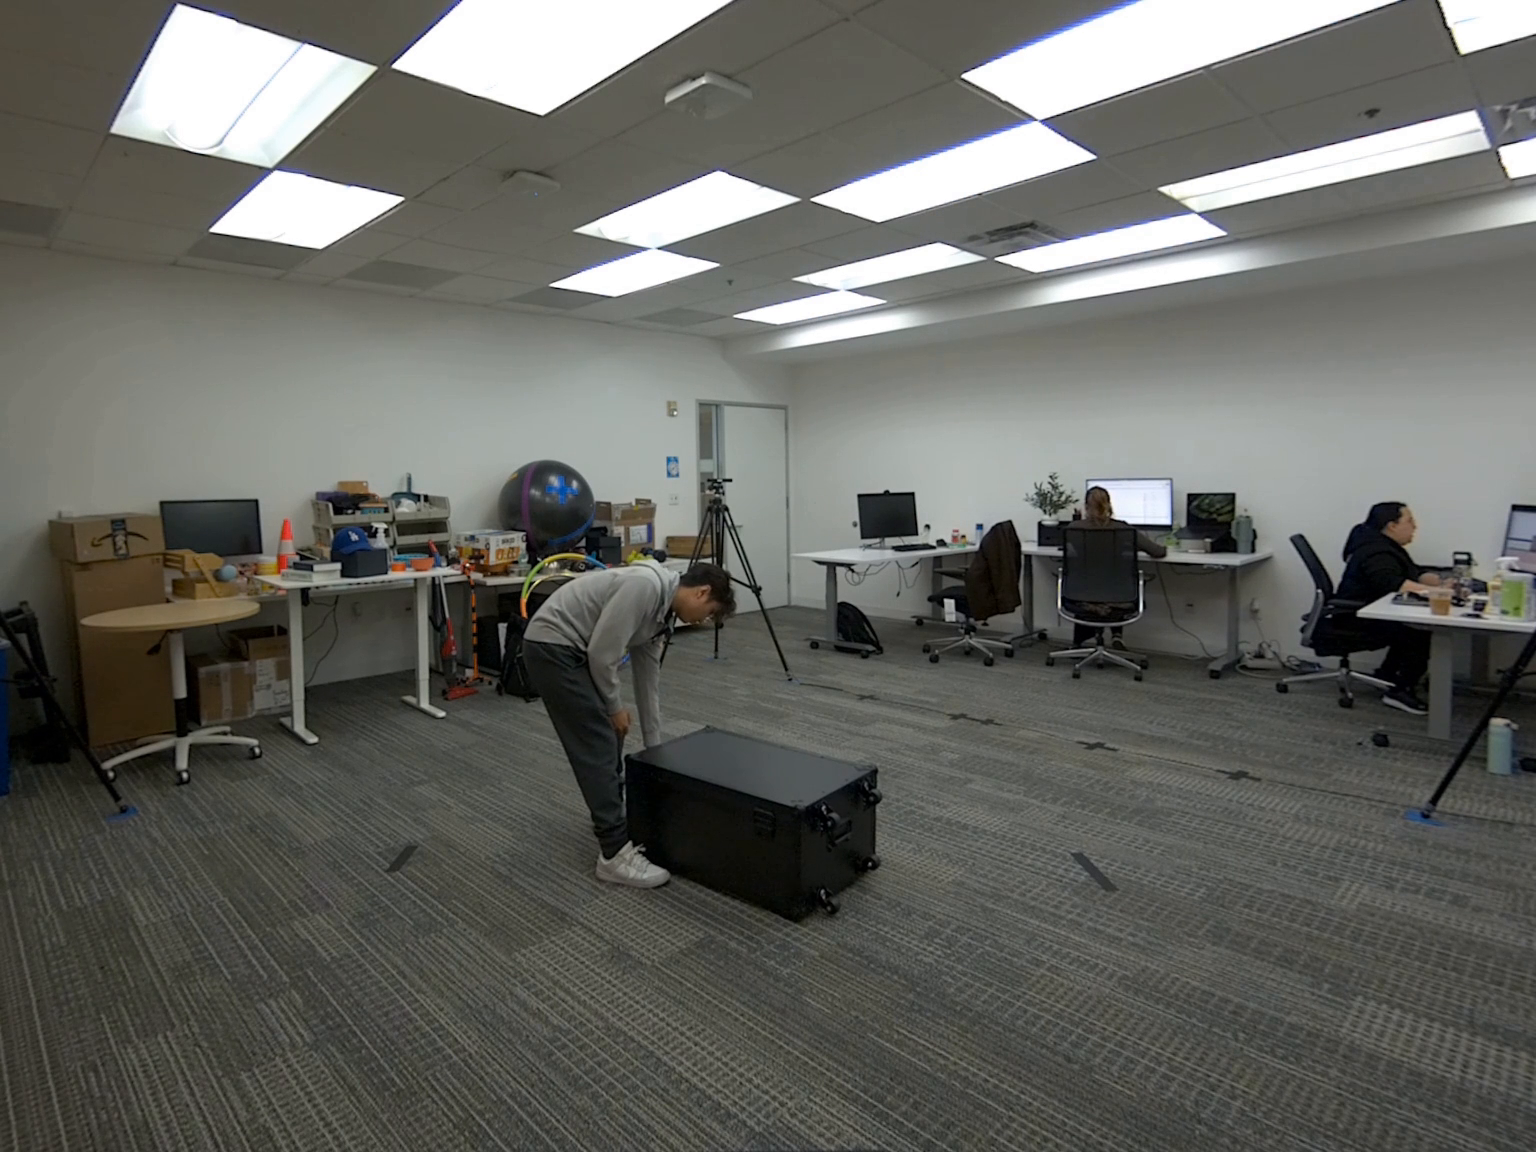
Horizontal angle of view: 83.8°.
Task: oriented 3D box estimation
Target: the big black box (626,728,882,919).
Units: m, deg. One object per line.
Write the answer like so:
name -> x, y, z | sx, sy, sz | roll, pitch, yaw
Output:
big black box -> -0.042, 0.857, 3.062 | 0.887, 0.395, 0.508 | 4, 7, 38
